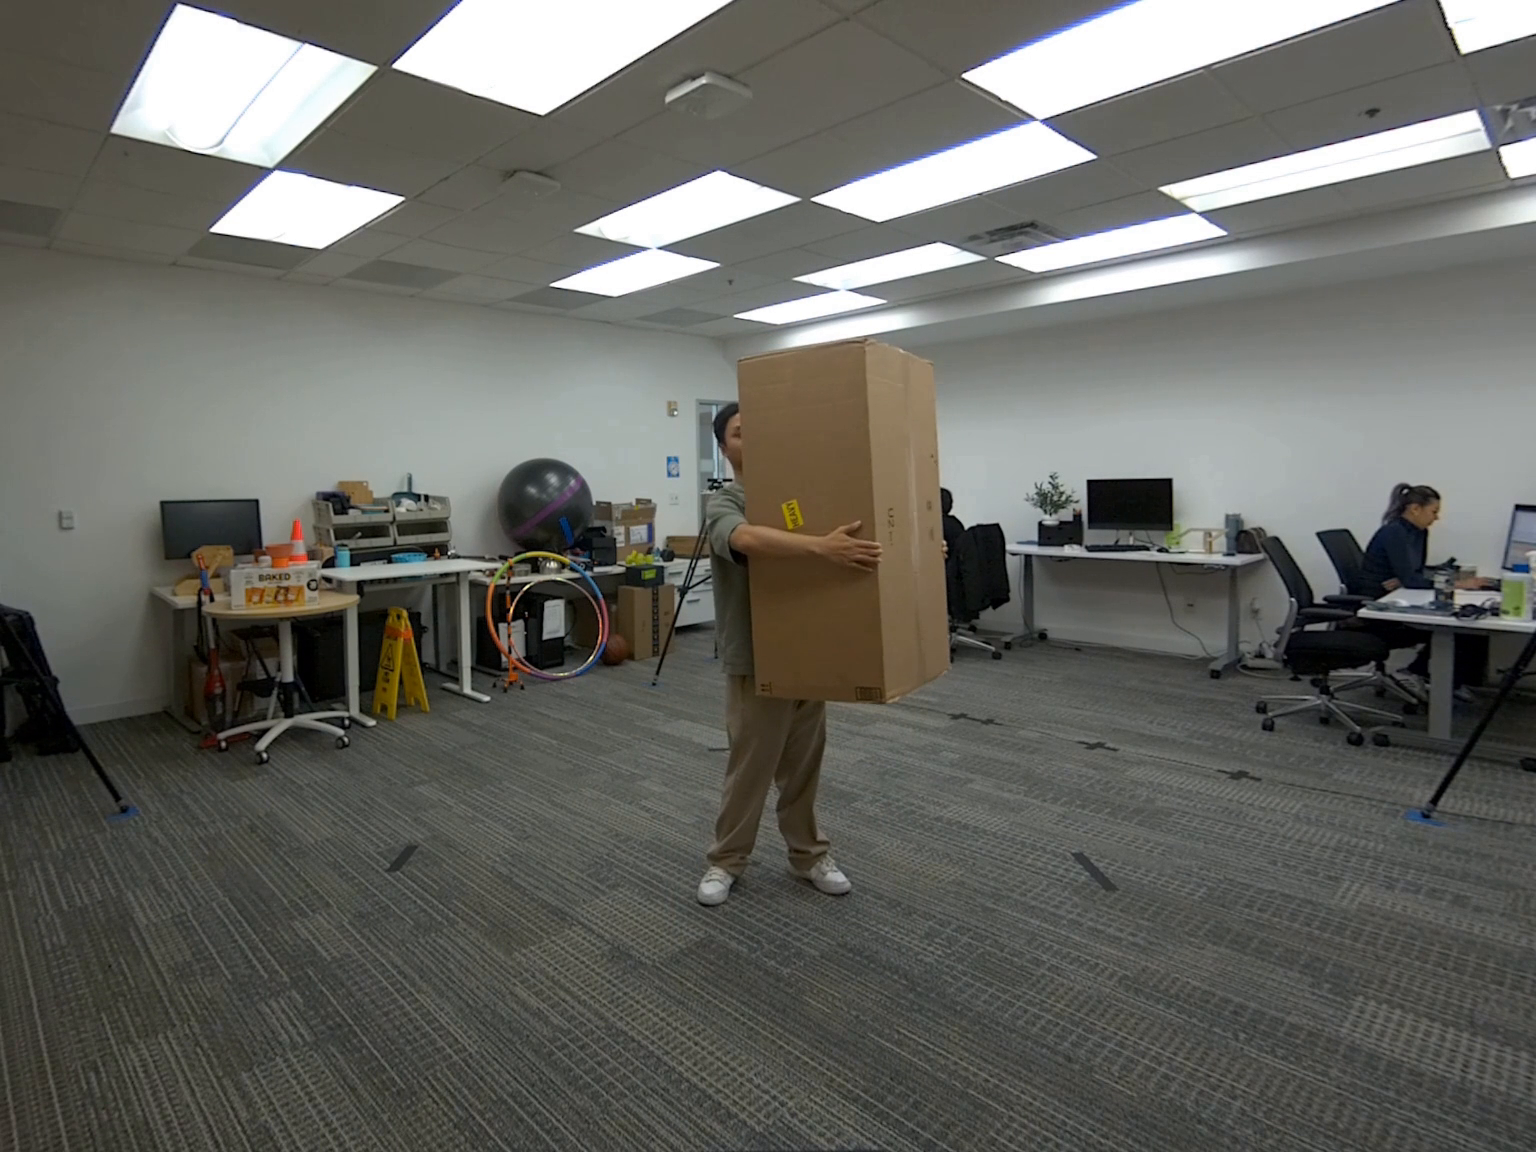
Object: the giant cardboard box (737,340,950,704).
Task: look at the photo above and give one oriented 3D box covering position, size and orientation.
[{"bbox_3d":[0.255,-0.172,2.701,0.437,1.025,0.564,-2,2,32],"label":"giant cardboard box"}]
